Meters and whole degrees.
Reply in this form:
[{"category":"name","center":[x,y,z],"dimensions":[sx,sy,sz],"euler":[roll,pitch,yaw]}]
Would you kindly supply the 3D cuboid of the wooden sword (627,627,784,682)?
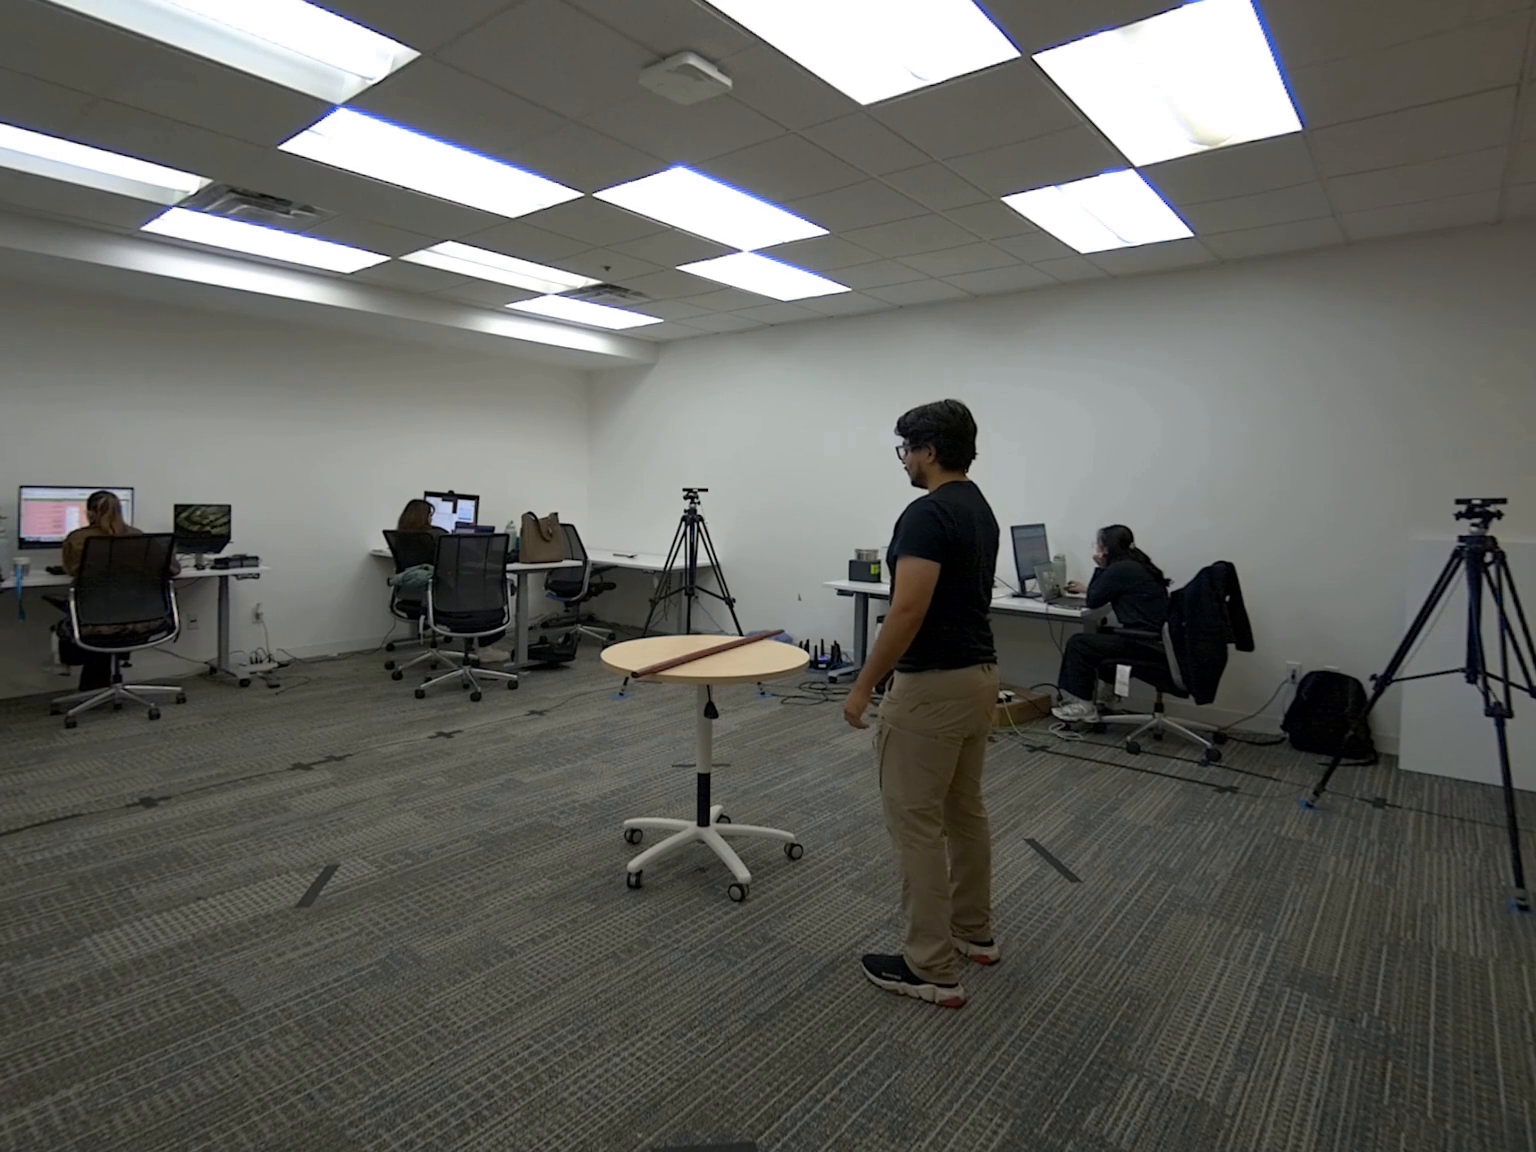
[{"category":"wooden sword","center":[-0.195,0.277,3.135],"dimensions":[0.051,0.024,0.999],"euler":[-37,-13,26]}]
